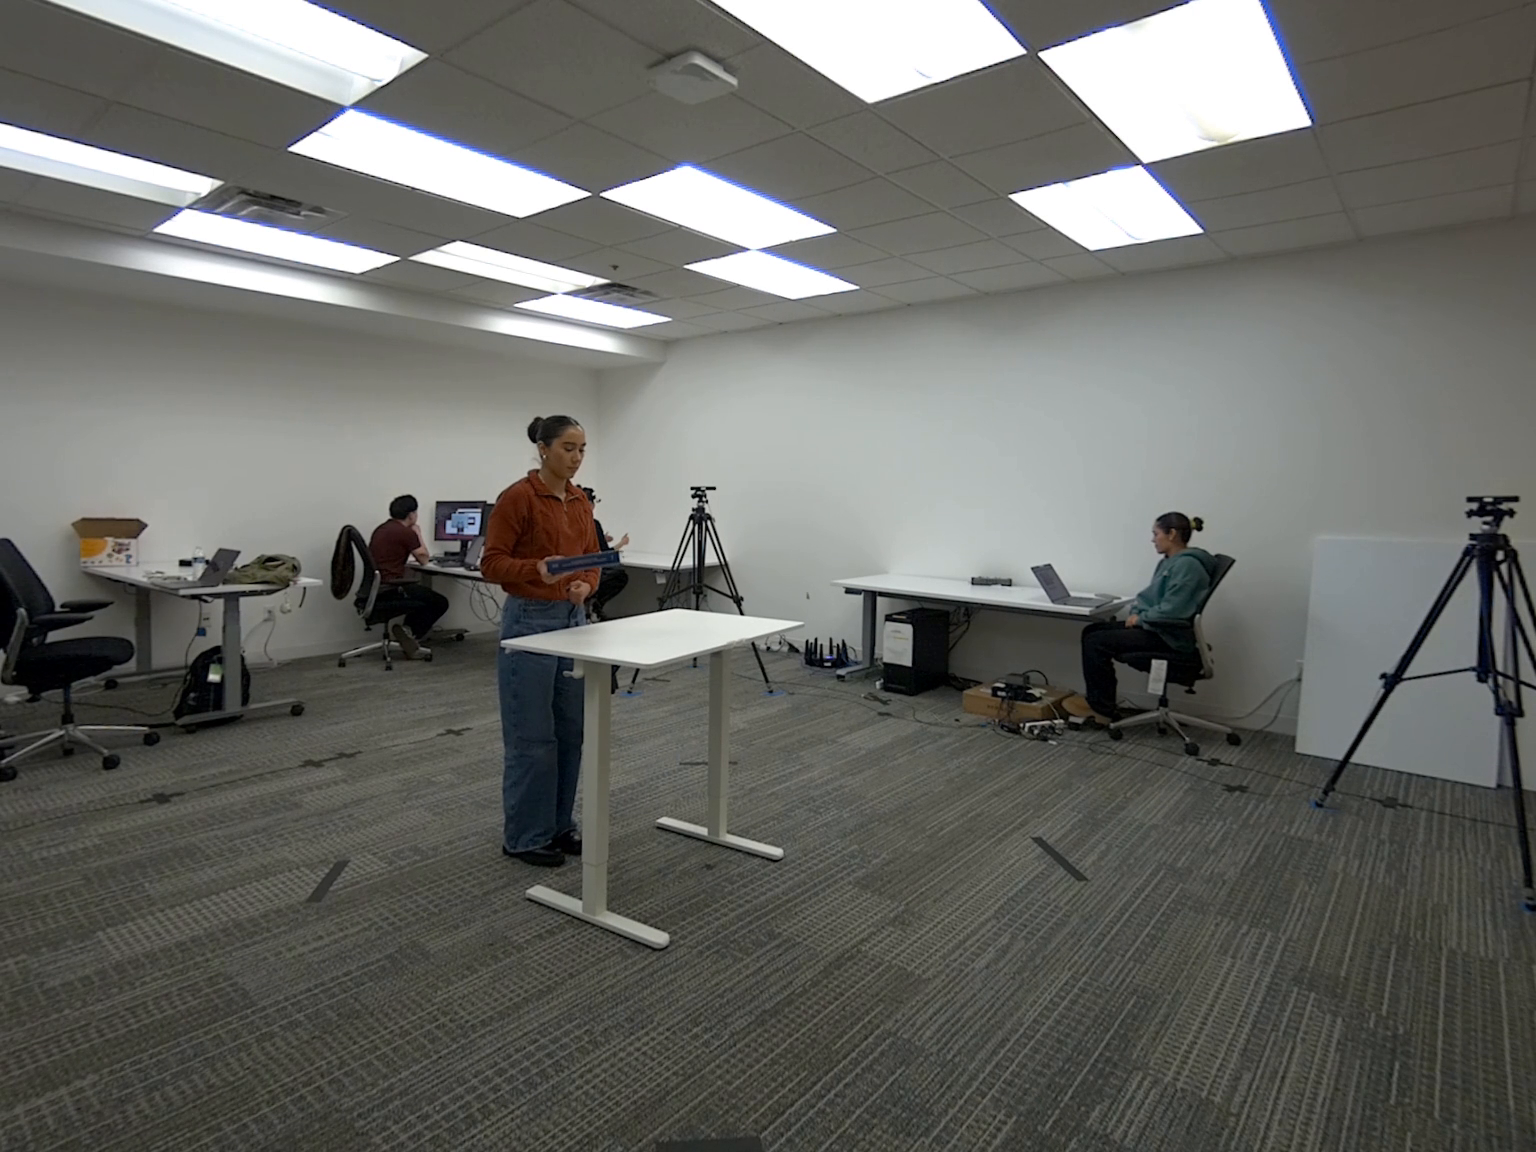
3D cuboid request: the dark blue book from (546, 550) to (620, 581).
[{"bbox_3d":[-0.643,-0.049,2.884,0.244,0.045,0.163,-8,0,-3],"label":"dark blue book"}]
